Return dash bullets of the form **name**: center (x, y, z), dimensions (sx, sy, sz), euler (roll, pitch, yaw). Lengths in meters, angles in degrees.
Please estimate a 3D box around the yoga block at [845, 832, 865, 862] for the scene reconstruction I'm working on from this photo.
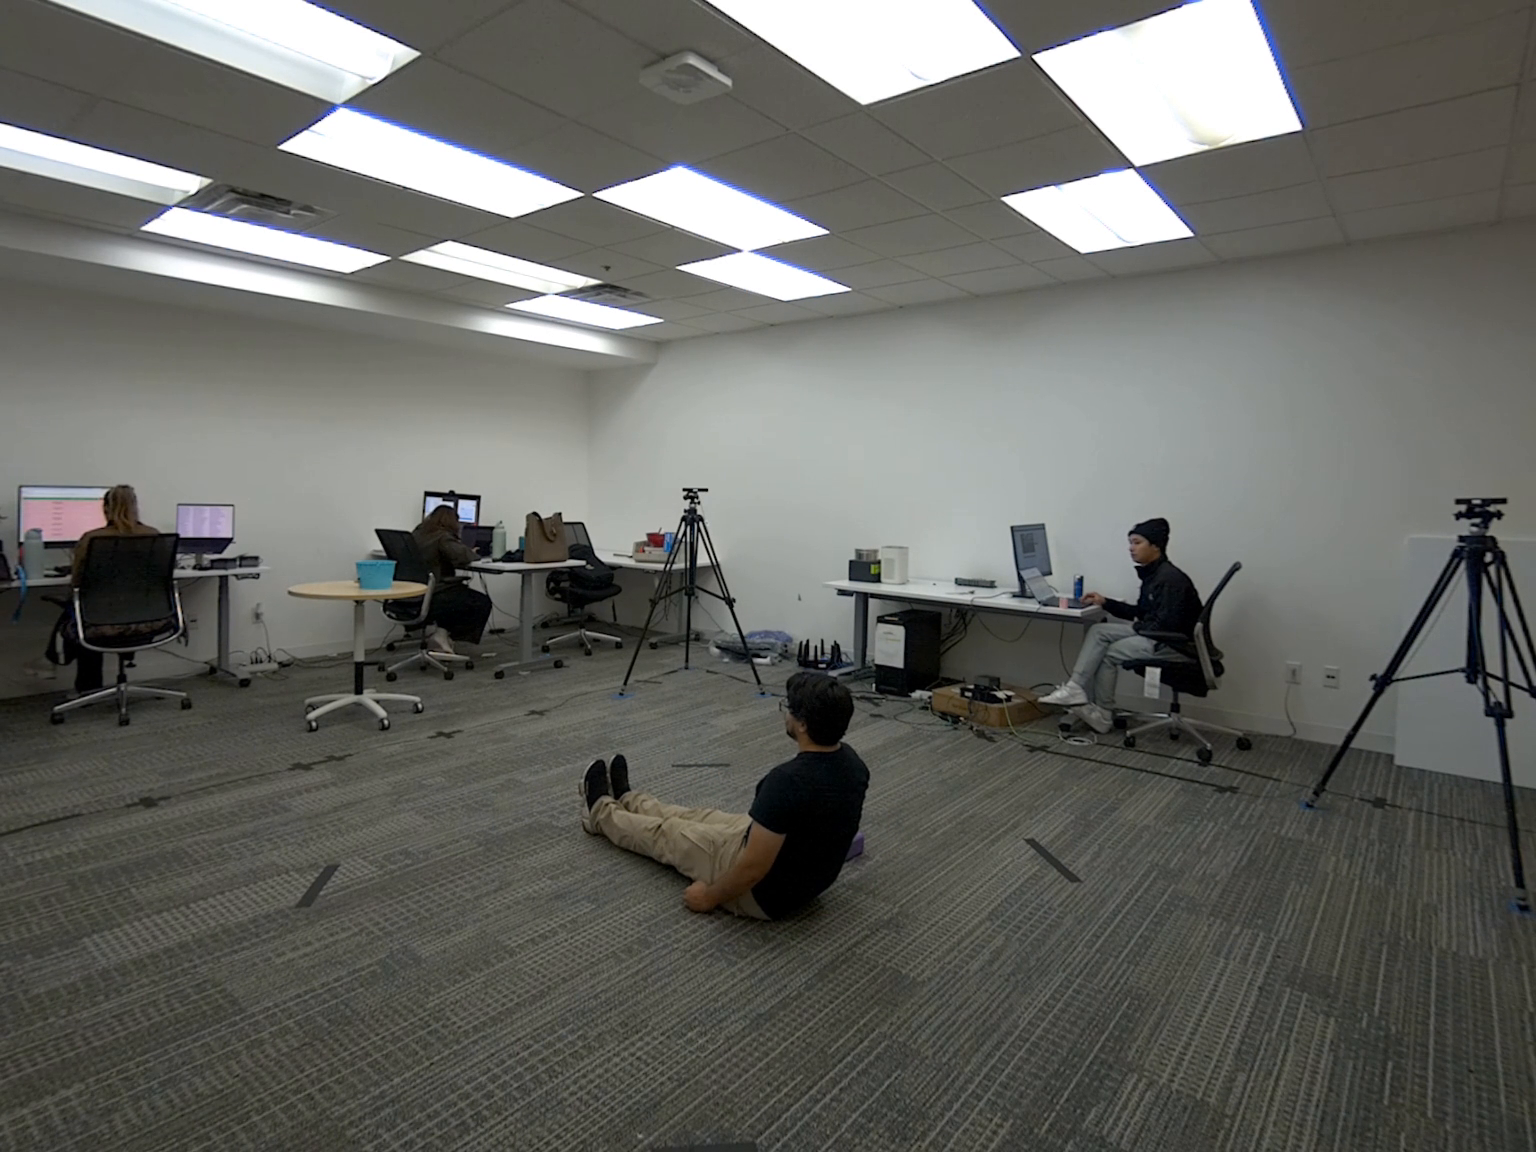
- **yoga block**: center (0.232, 1.015, 3.305), dimensions (0.237, 0.076, 0.144), euler (4, 5, 41)
